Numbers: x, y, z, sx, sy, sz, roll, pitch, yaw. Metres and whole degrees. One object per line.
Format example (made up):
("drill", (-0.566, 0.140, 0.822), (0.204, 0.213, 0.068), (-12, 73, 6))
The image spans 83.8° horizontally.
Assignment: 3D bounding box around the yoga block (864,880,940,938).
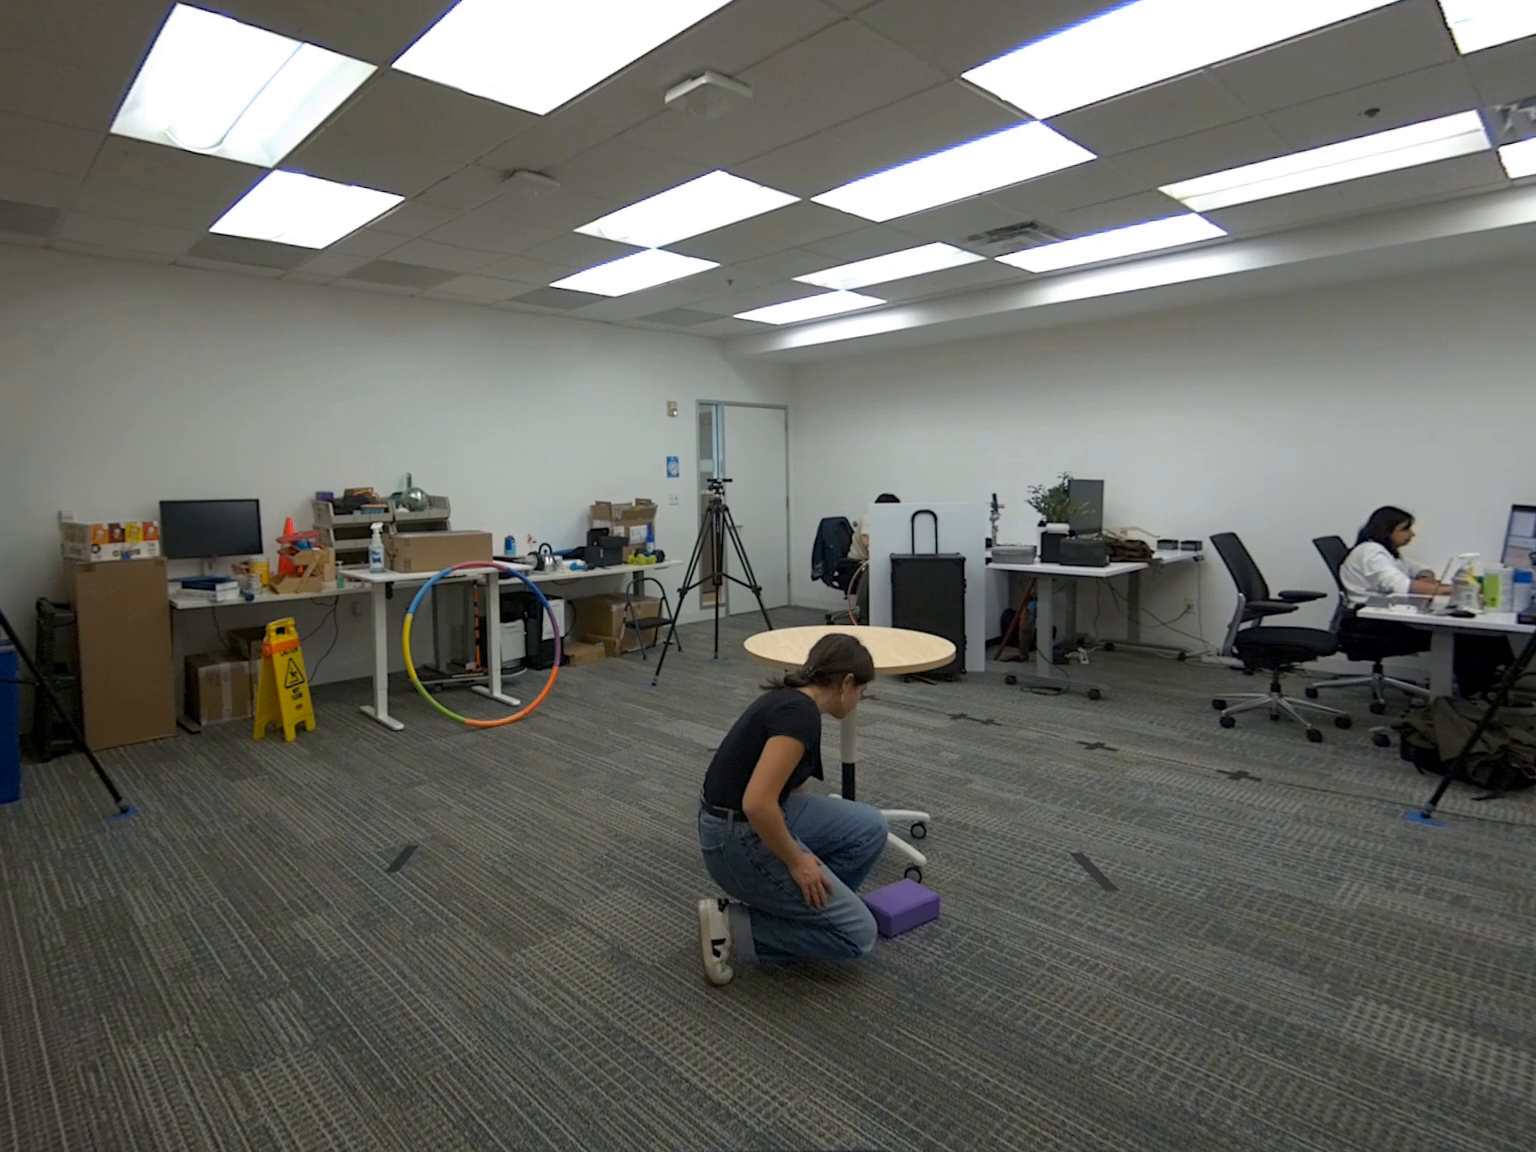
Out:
("yoga block", (0.413, 1.045, 2.704), (0.223, 0.076, 0.153), (-5, 7, -36))
